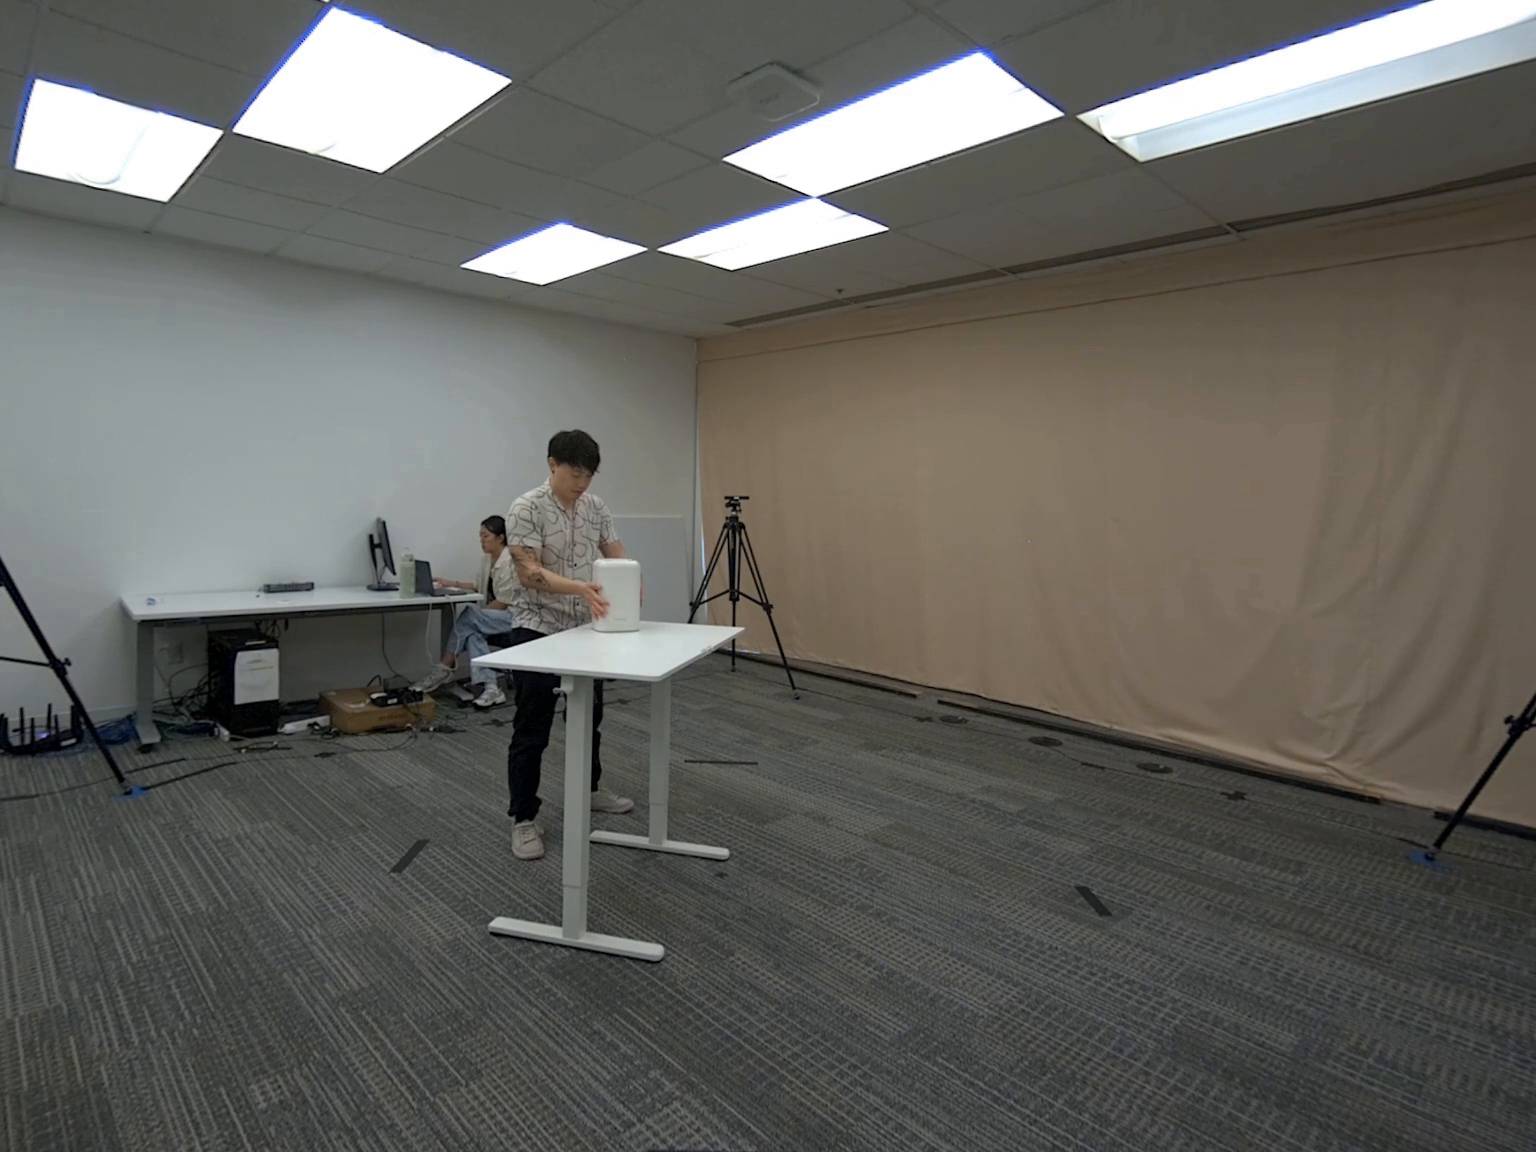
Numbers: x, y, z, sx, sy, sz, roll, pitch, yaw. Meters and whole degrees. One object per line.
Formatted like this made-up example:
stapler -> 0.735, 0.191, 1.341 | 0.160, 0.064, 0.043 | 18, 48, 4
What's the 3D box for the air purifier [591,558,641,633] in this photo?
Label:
air purifier -> -0.584, 0.072, 3.201 | 0.168, 0.265, 0.174 | 2, 2, -20
